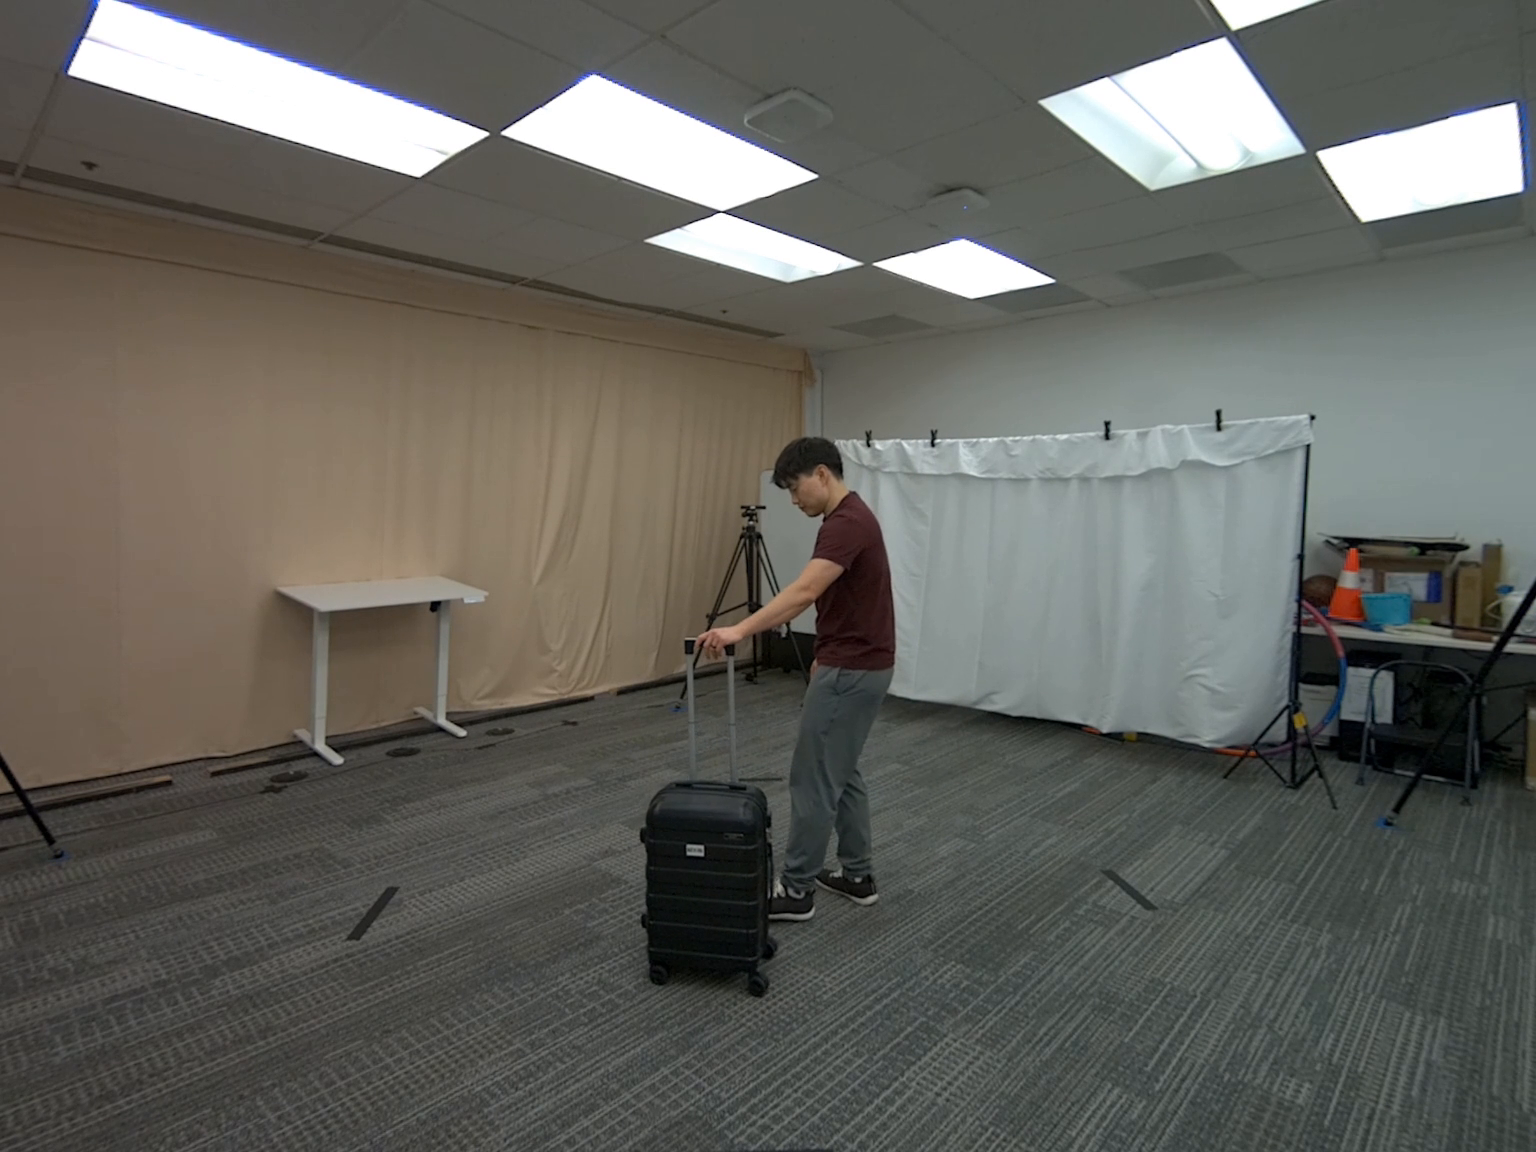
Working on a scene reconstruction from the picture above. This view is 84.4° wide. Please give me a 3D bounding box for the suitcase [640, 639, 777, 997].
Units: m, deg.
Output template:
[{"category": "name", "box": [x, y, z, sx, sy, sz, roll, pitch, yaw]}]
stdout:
[{"category": "suitcase", "box": [-0.180, 0.704, 2.505, 0.388, 0.976, 0.255, 0, 3, 9]}]
